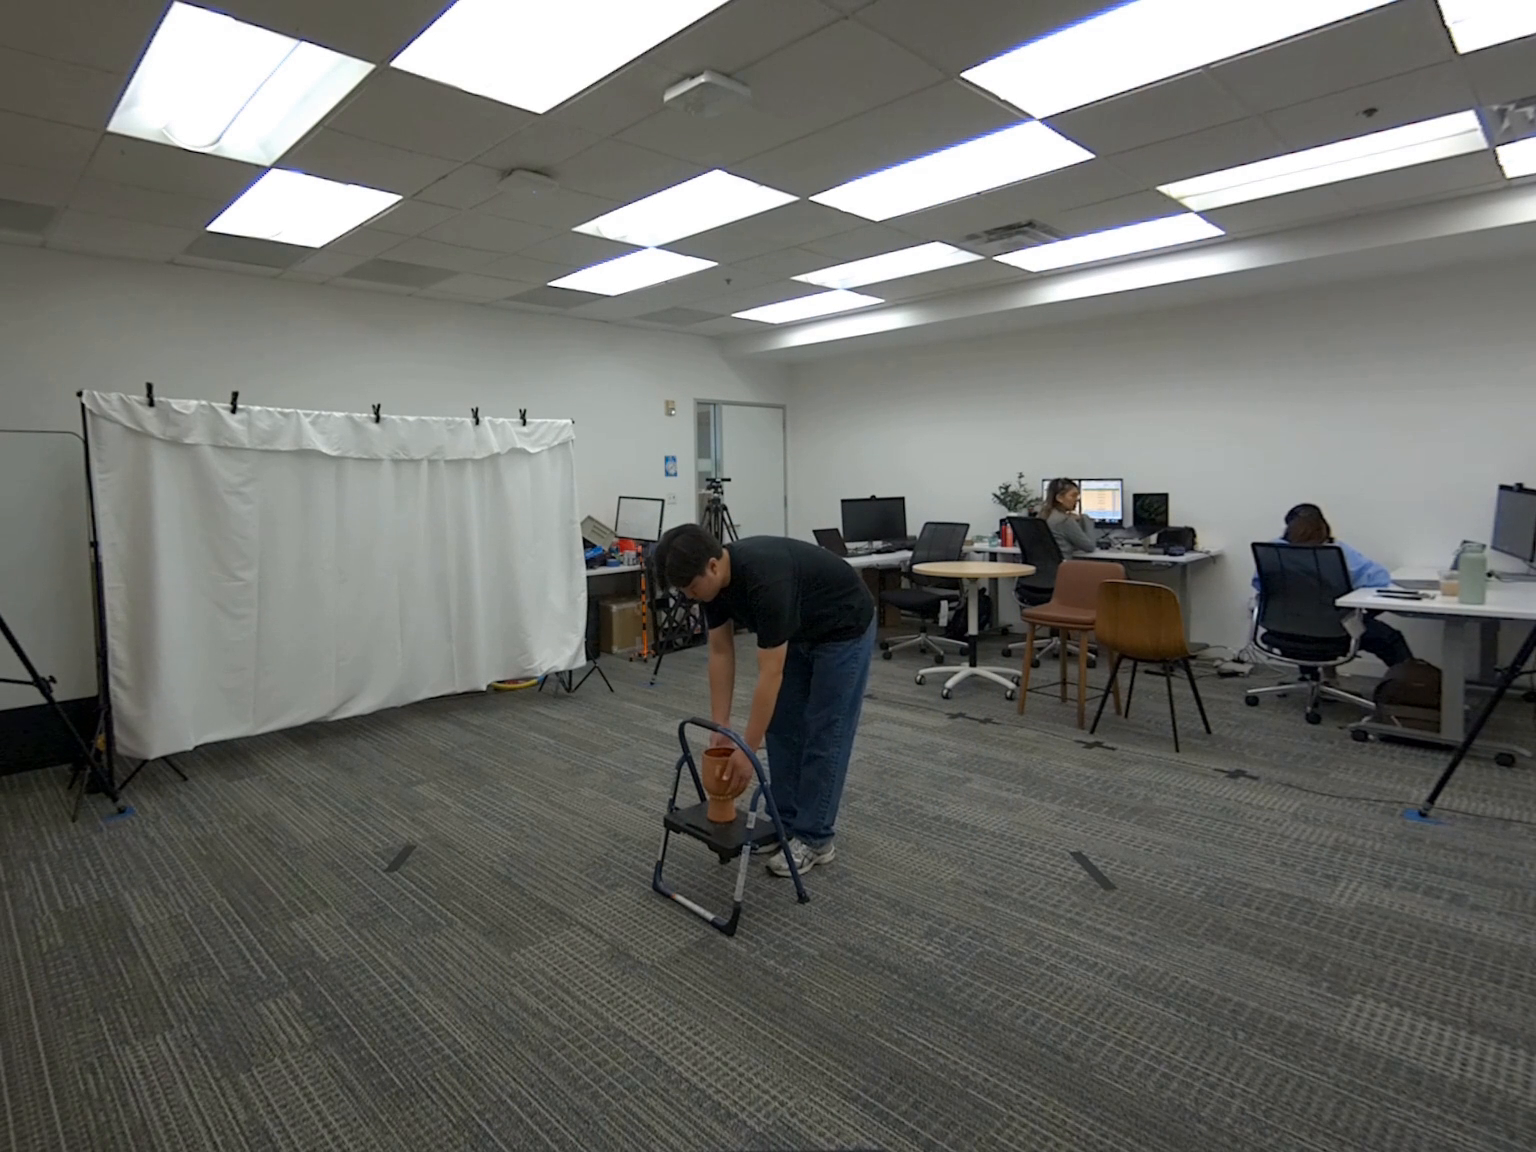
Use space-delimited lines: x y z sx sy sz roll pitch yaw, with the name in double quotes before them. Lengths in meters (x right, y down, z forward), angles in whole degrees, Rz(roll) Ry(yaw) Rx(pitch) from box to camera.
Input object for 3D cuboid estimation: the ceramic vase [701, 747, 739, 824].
"ceramic vase" -0.152 0.702 2.861 0.154 0.219 0.139 -3 4 -41
